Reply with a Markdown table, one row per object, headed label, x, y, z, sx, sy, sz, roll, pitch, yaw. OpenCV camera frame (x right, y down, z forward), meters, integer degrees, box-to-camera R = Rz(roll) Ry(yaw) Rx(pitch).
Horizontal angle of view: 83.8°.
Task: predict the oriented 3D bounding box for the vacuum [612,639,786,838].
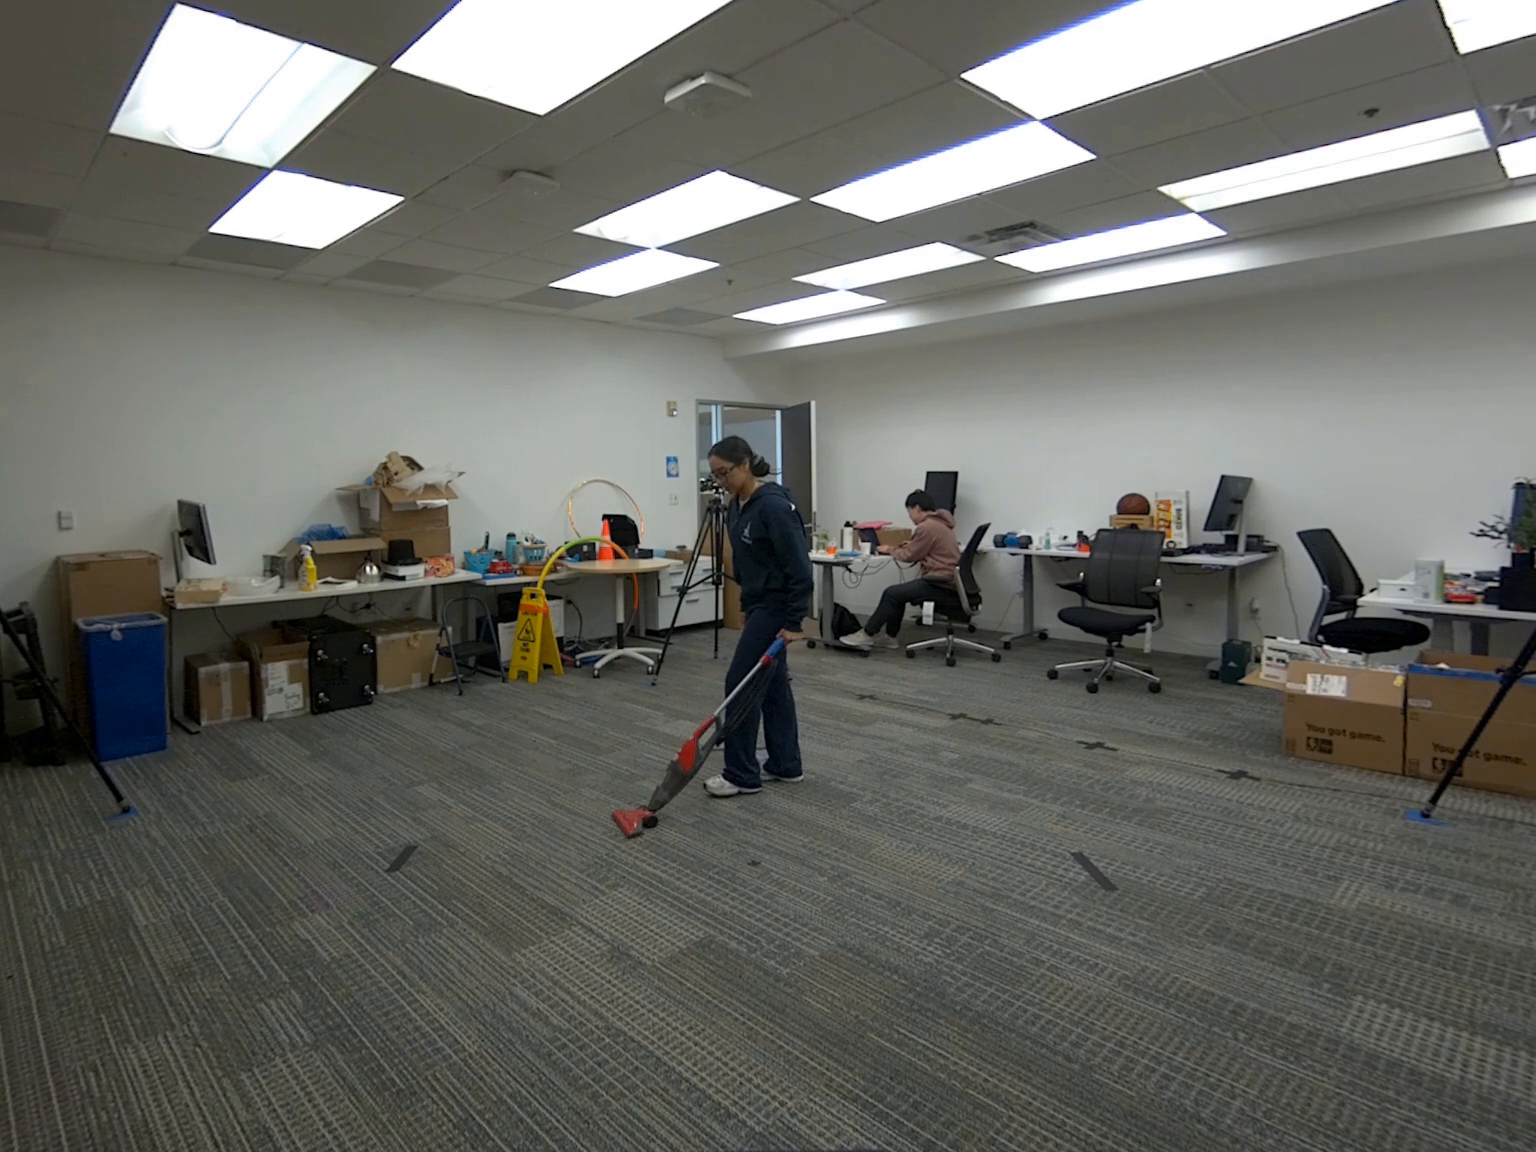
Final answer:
| label | x | y | z | sx | sy | sz | roll | pitch | yaw |
| --- | --- | --- | --- | --- | --- | --- | --- | --- | --- |
| vacuum | -0.219 | 0.628 | 3.588 | 0.139 | 1.050 | 0.260 | 48 | -15 | -28 |
